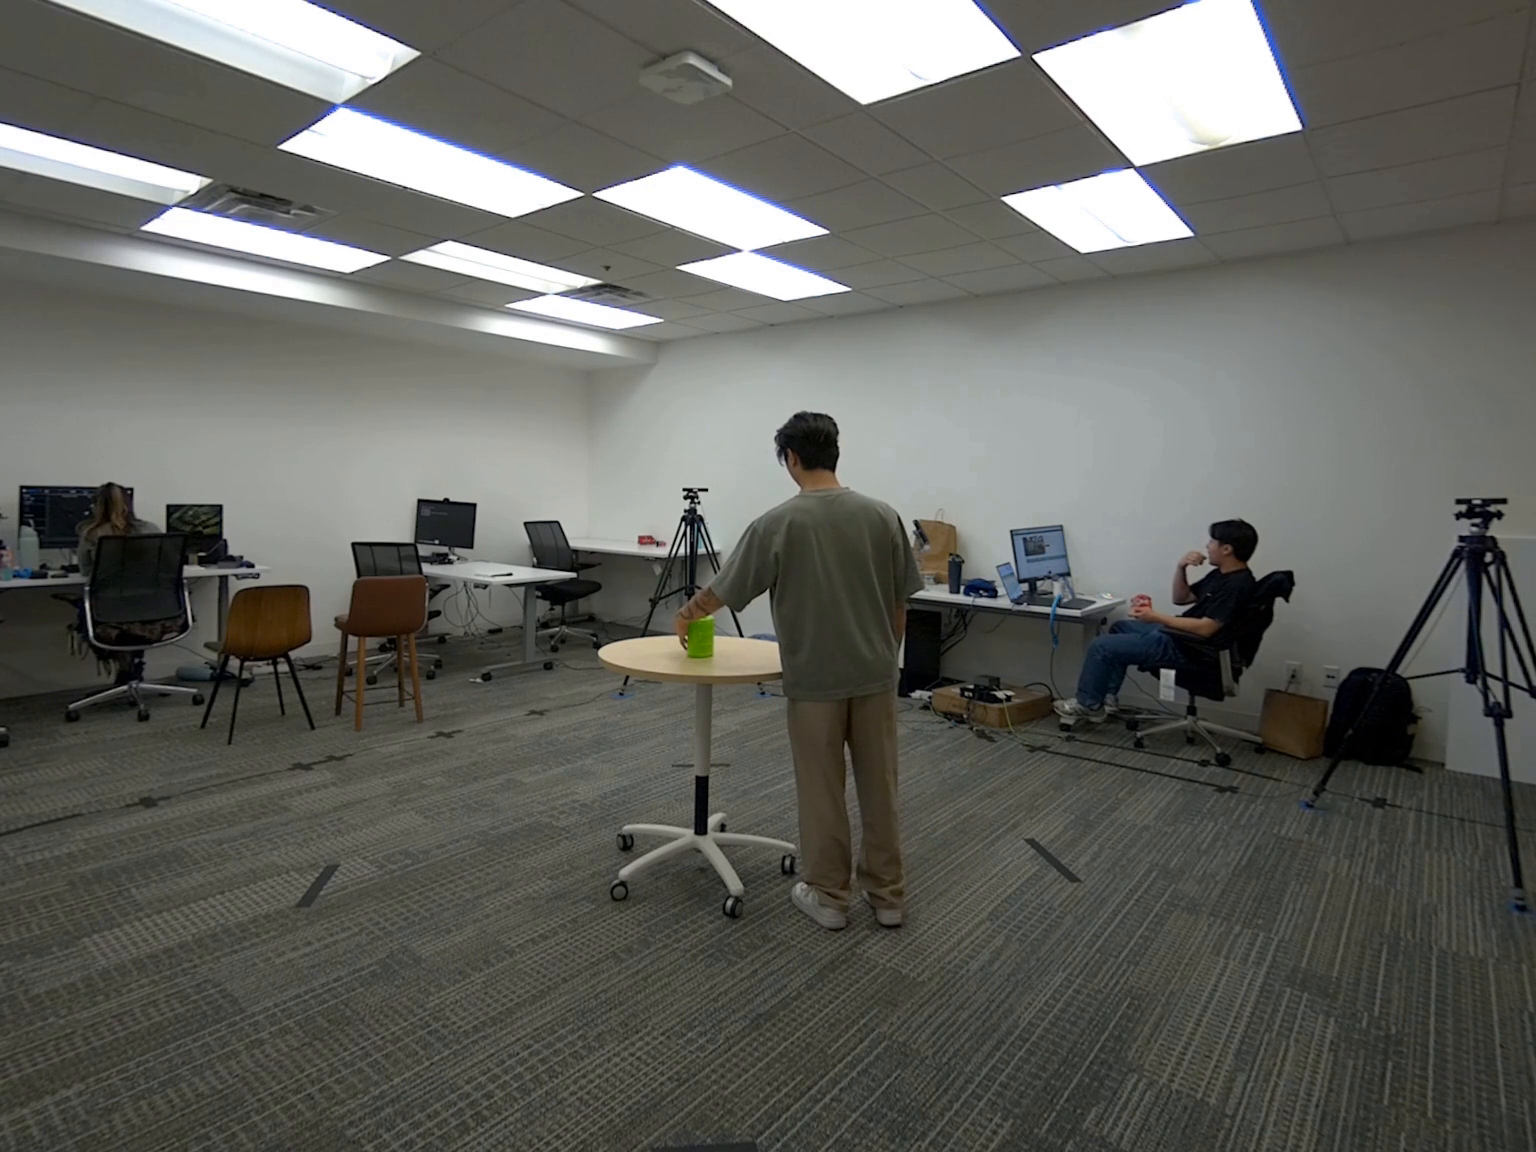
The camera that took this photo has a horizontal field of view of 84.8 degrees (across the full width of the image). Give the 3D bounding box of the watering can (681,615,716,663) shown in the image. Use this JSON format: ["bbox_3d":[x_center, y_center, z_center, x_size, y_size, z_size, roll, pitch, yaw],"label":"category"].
[{"bbox_3d":[-0.227,0.190,3.064,0.101,0.176,0.272,5,8,25],"label":"watering can"}]
